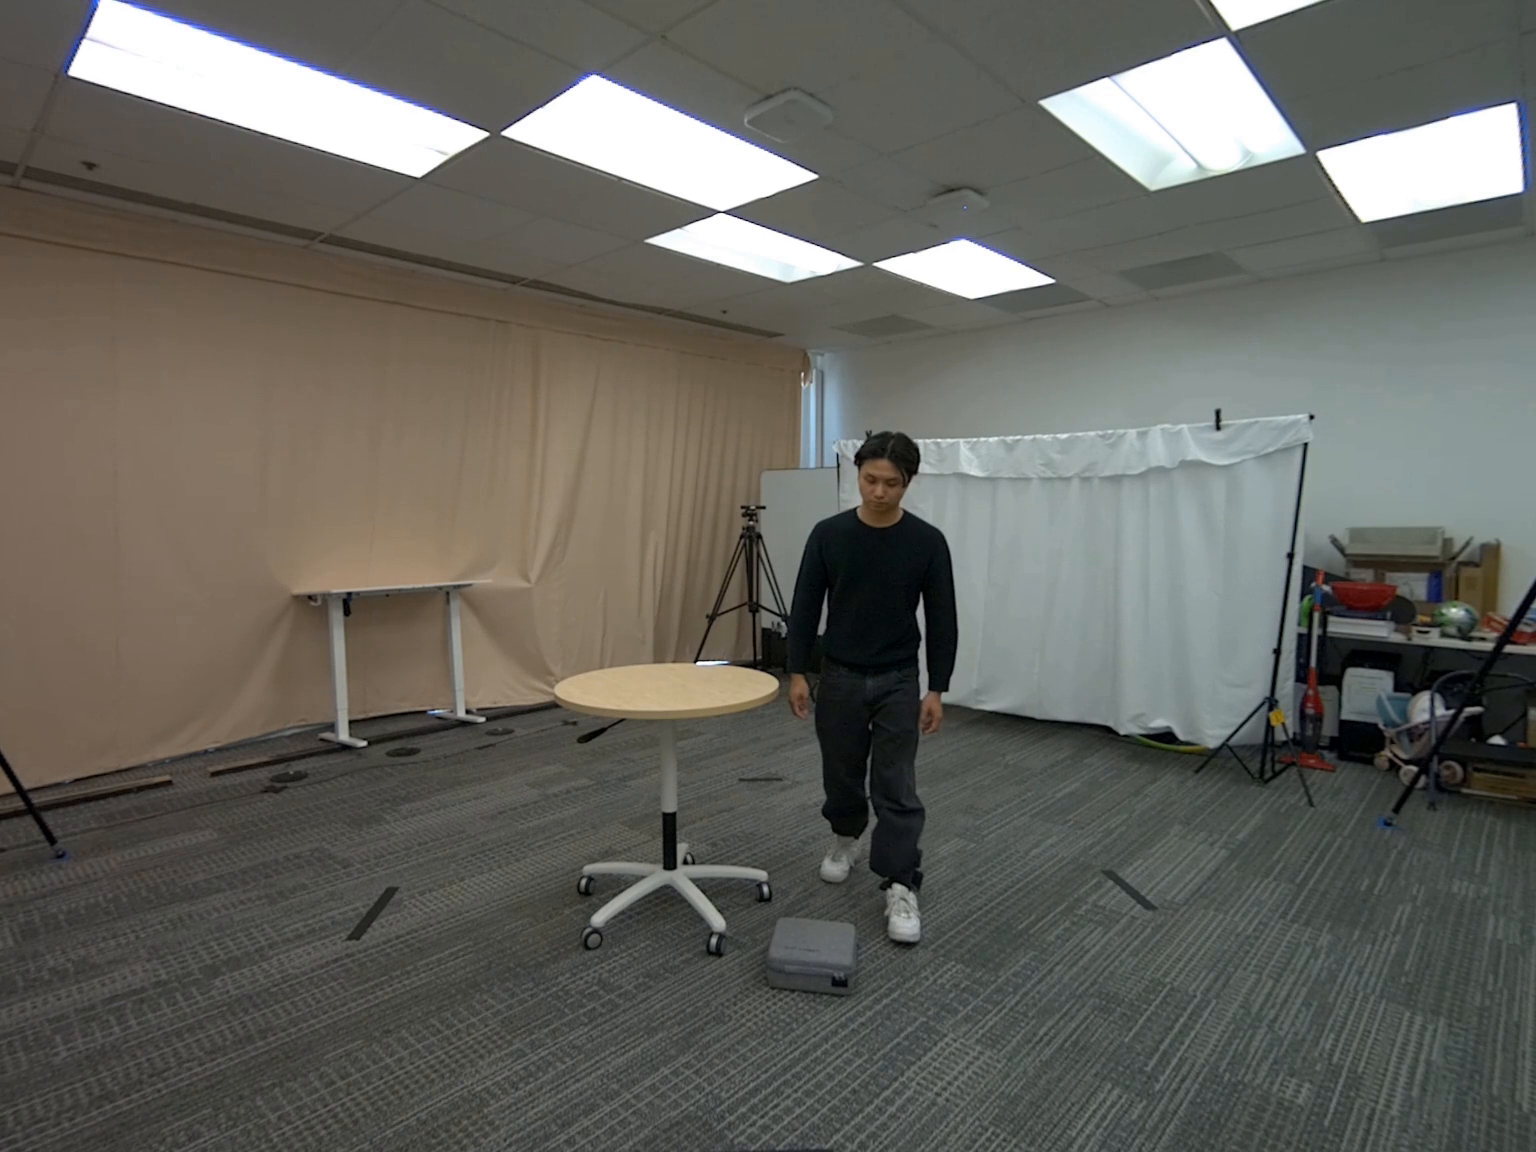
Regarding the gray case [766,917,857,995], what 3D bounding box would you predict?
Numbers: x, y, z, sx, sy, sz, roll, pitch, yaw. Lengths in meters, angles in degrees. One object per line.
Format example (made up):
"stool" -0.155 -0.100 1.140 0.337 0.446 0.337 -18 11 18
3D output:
"gray case" 0.134 1.122 2.520 0.260 0.104 0.258 0 3 10
